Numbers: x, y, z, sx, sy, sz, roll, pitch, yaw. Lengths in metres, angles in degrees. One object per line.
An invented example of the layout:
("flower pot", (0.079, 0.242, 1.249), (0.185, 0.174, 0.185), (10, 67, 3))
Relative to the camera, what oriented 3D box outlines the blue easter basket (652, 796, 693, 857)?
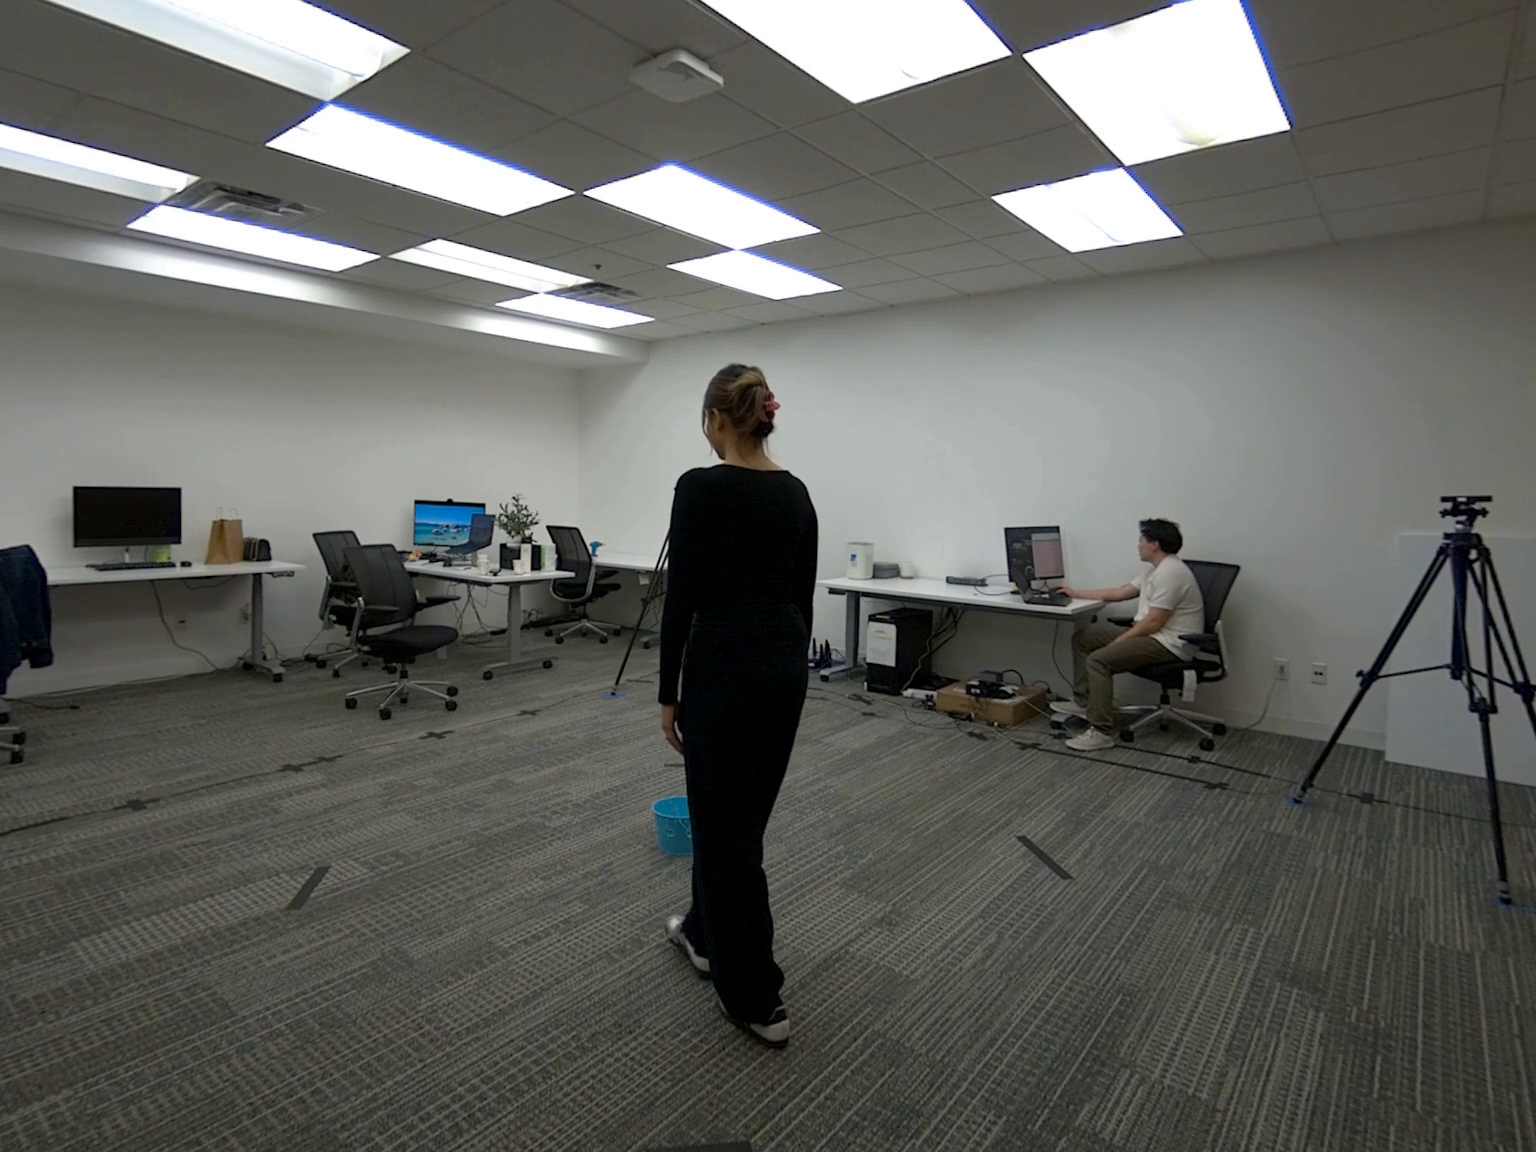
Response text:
("blue easter basket", (-0.338, 0.965, 3.298), (0.243, 0.155, 0.245), (0, 5, -2))
